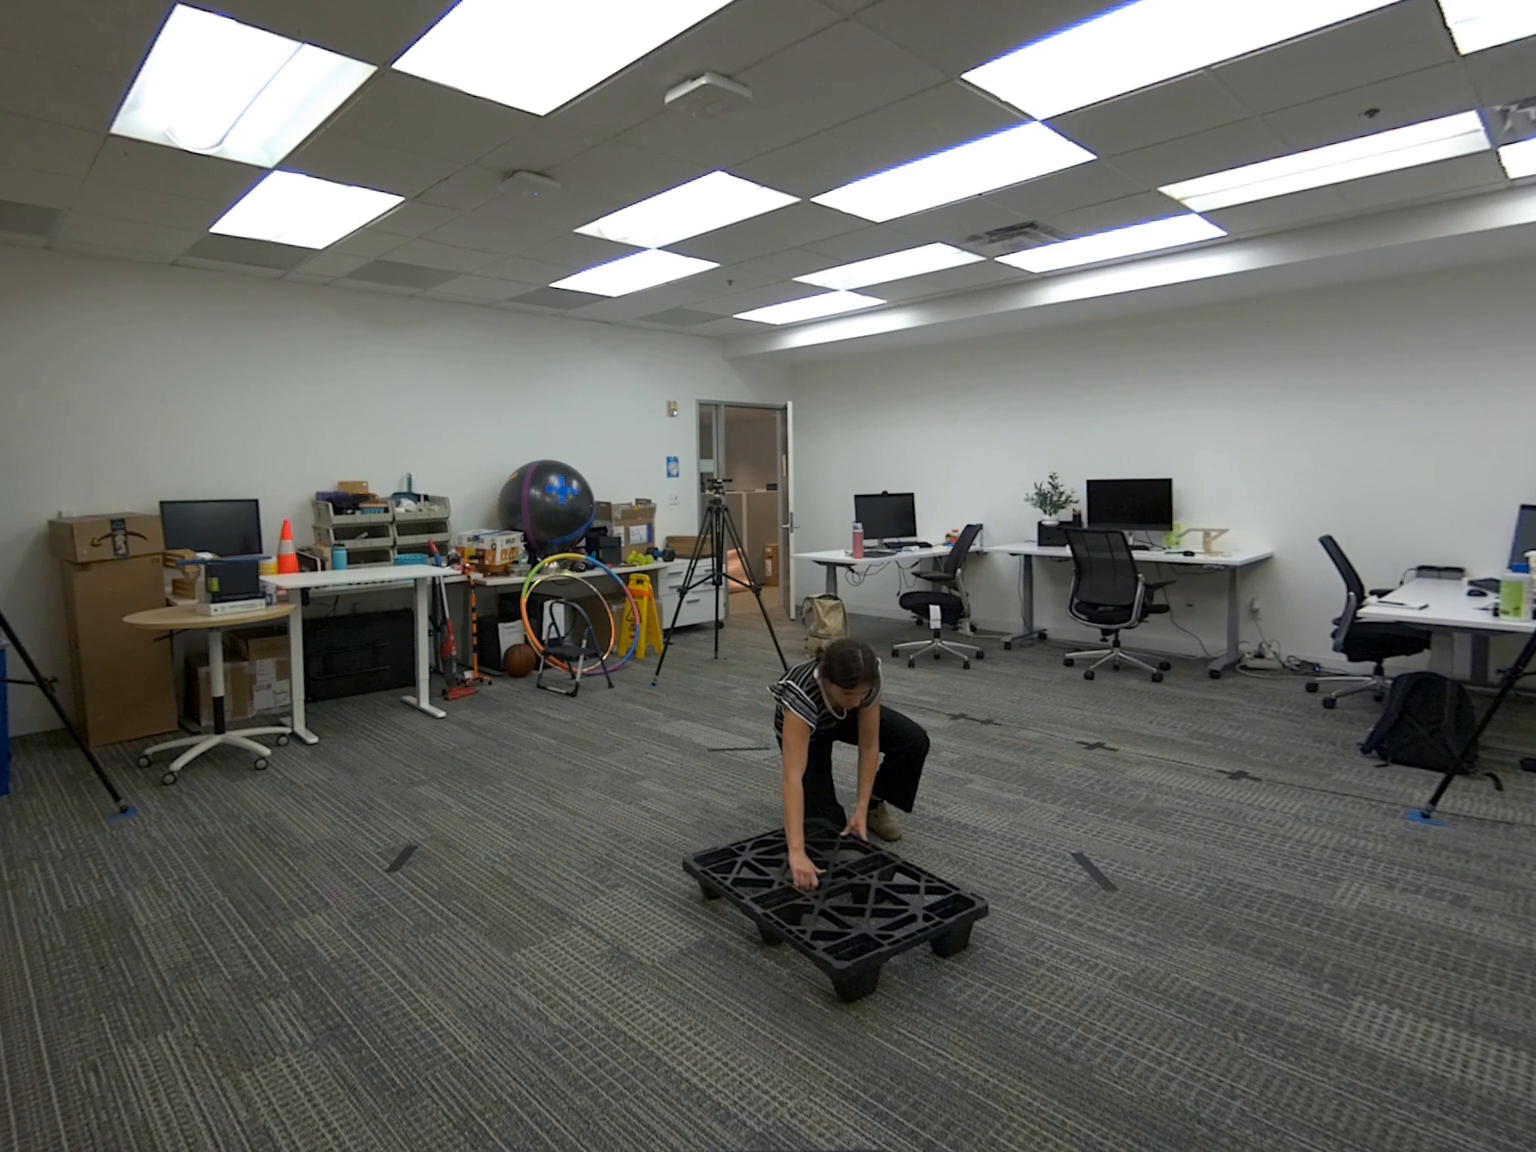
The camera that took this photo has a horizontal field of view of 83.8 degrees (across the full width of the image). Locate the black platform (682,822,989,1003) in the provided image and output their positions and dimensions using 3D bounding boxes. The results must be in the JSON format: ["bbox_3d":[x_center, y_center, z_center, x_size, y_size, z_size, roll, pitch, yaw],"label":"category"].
[{"bbox_3d":[0.183,1.019,2.694,0.590,0.142,0.830,-7,9,-35],"label":"black platform"}]
